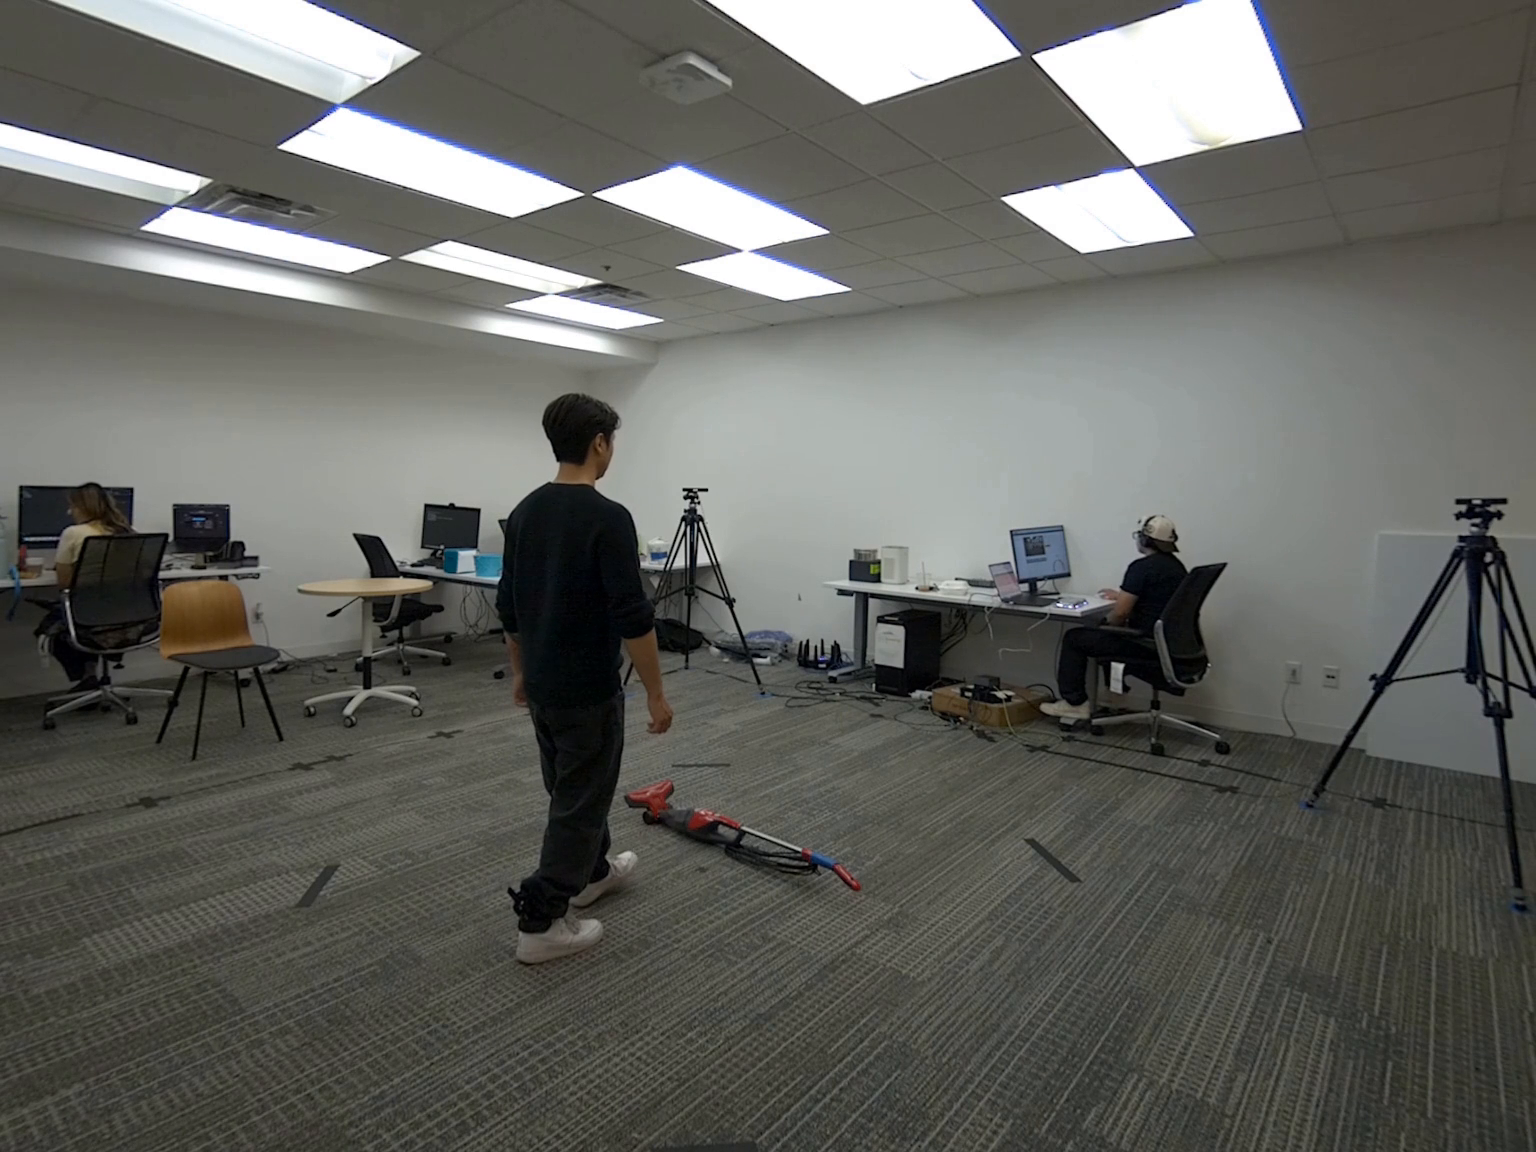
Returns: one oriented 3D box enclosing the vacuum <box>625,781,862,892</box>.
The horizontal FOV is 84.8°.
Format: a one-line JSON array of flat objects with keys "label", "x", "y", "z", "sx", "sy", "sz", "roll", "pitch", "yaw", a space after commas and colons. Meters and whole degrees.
[{"label": "vacuum", "x": -0.105, "y": 1.002, "z": 3.220, "sx": 1.086, "sy": 0.143, "sz": 0.245, "roll": 8, "pitch": 9, "yaw": 43}]
